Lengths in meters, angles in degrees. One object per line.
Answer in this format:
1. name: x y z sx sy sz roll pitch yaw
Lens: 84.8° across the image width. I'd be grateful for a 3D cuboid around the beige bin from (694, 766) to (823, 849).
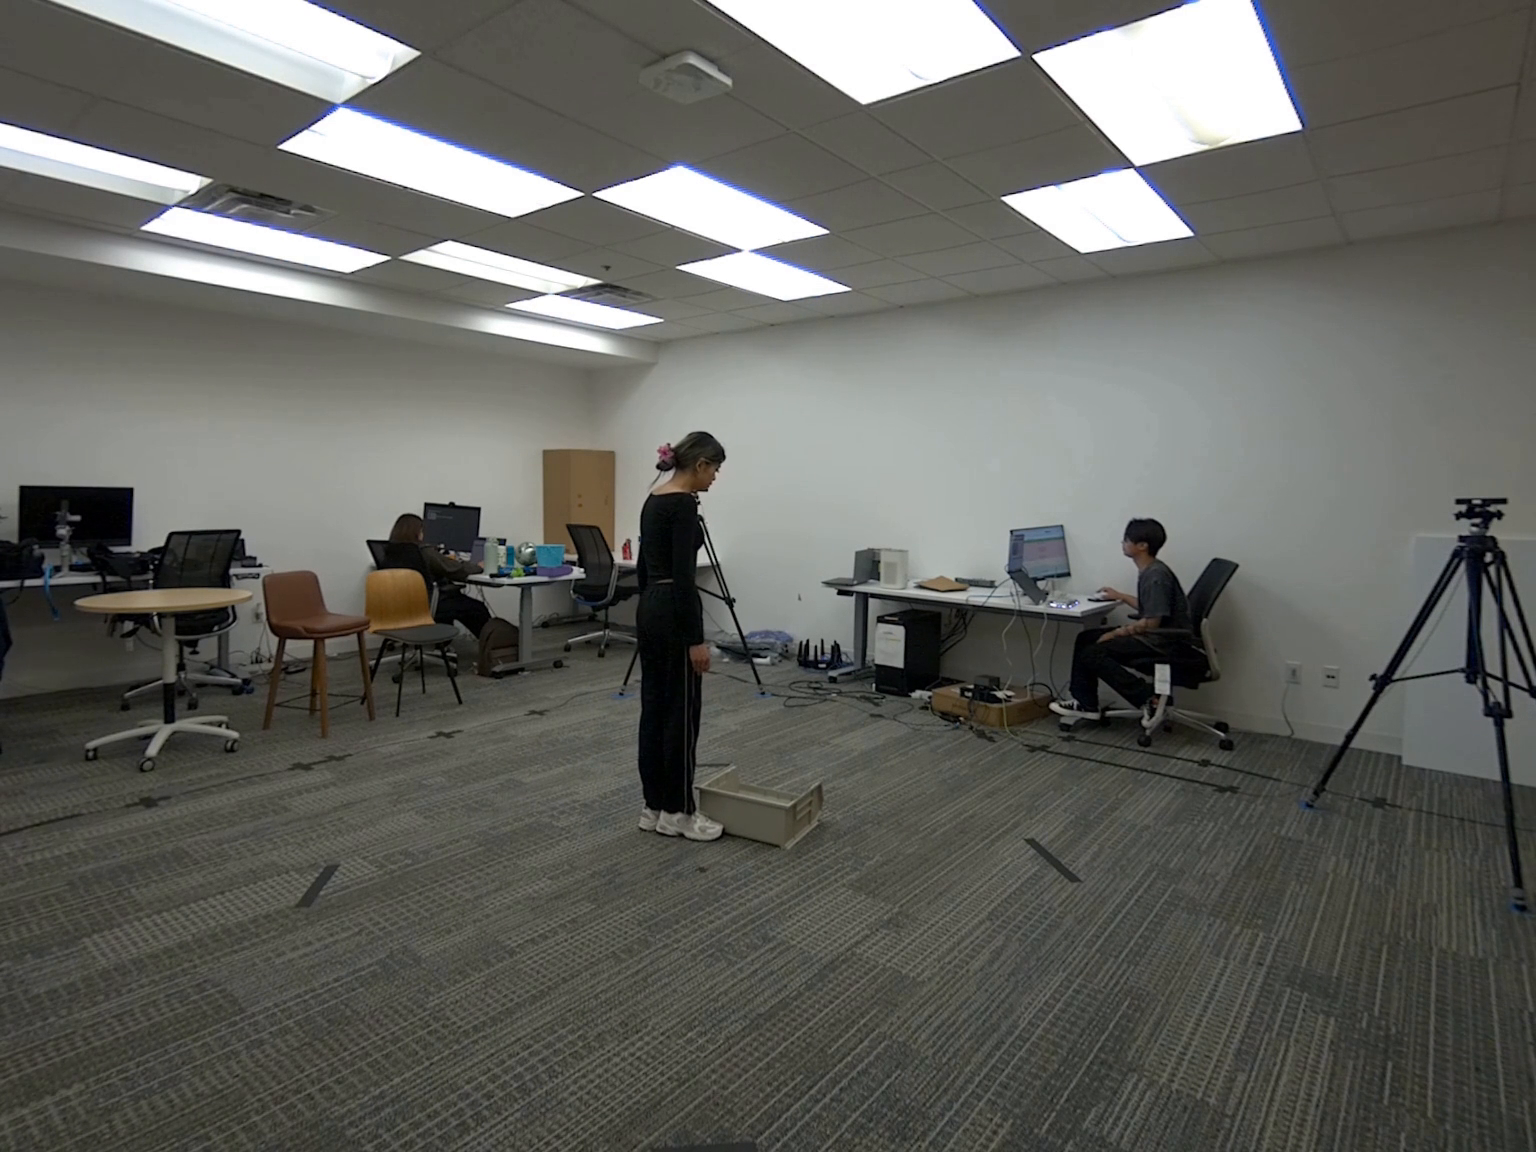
1. beige bin: -0.040 0.942 3.536 0.434 0.188 0.369 4 7 27
